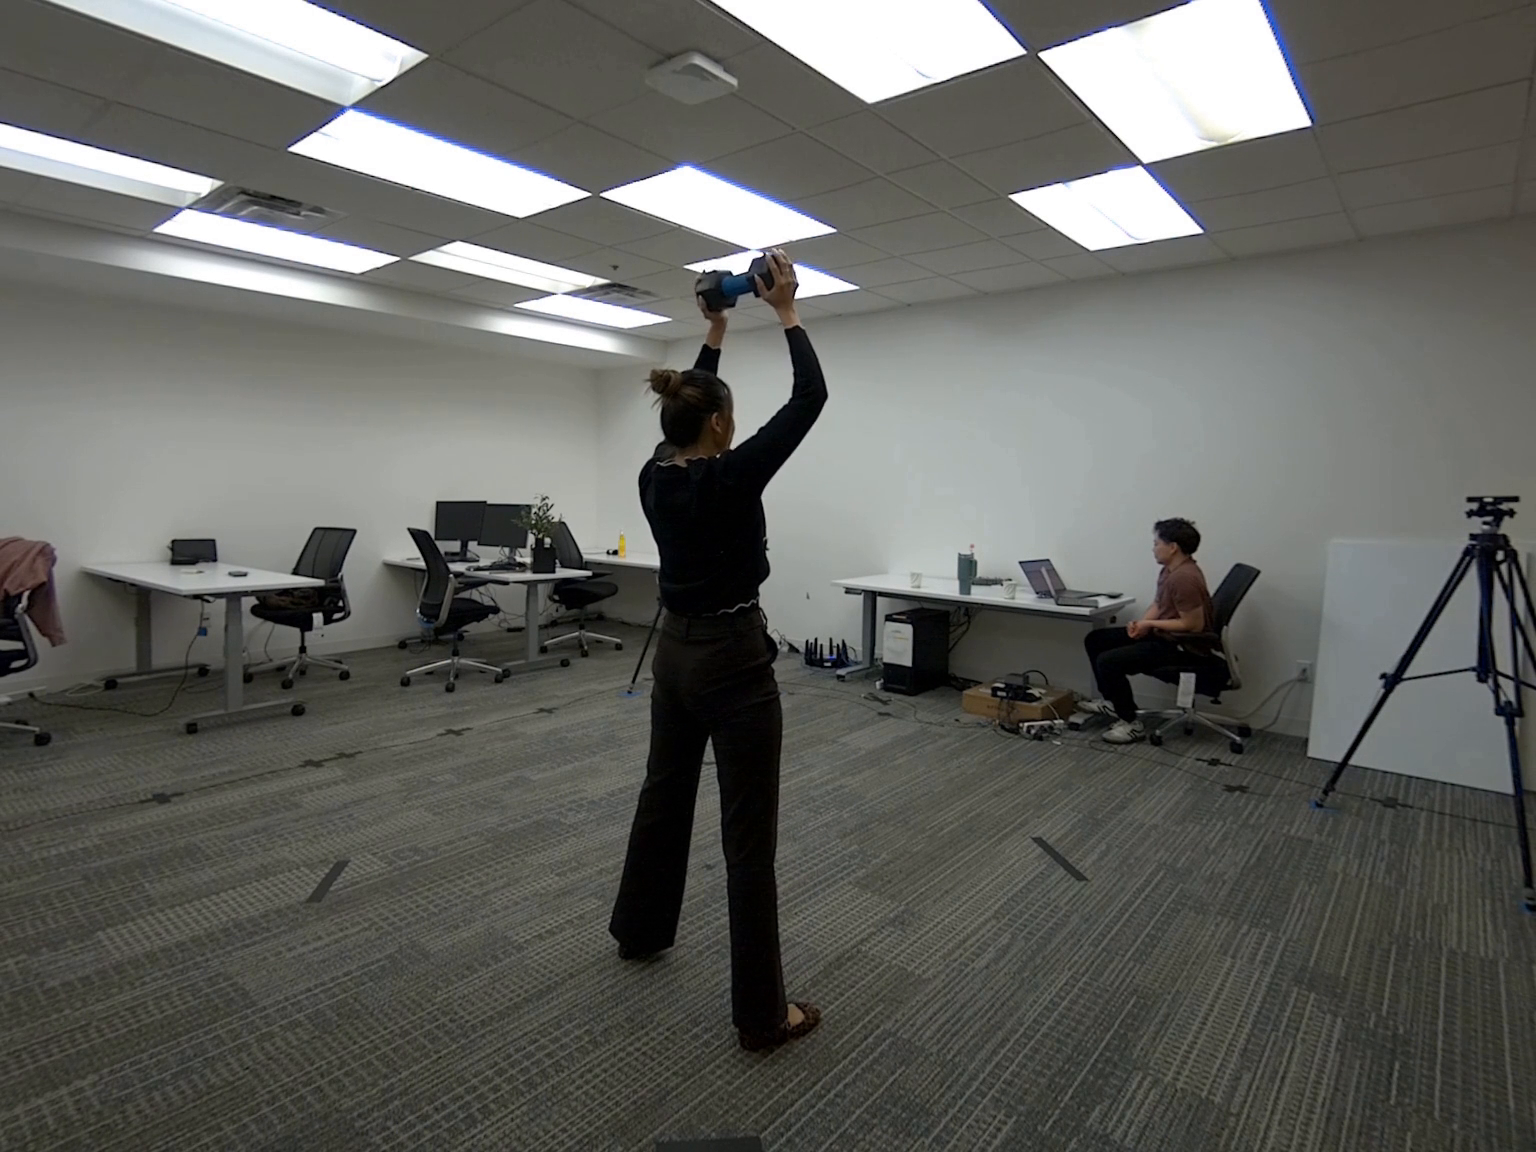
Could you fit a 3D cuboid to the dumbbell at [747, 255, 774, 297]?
[{"bbox_3d":[-0.078,-0.807,2.353,0.304,0.118,0.109,6,50,46],"label":"dumbbell"}]
